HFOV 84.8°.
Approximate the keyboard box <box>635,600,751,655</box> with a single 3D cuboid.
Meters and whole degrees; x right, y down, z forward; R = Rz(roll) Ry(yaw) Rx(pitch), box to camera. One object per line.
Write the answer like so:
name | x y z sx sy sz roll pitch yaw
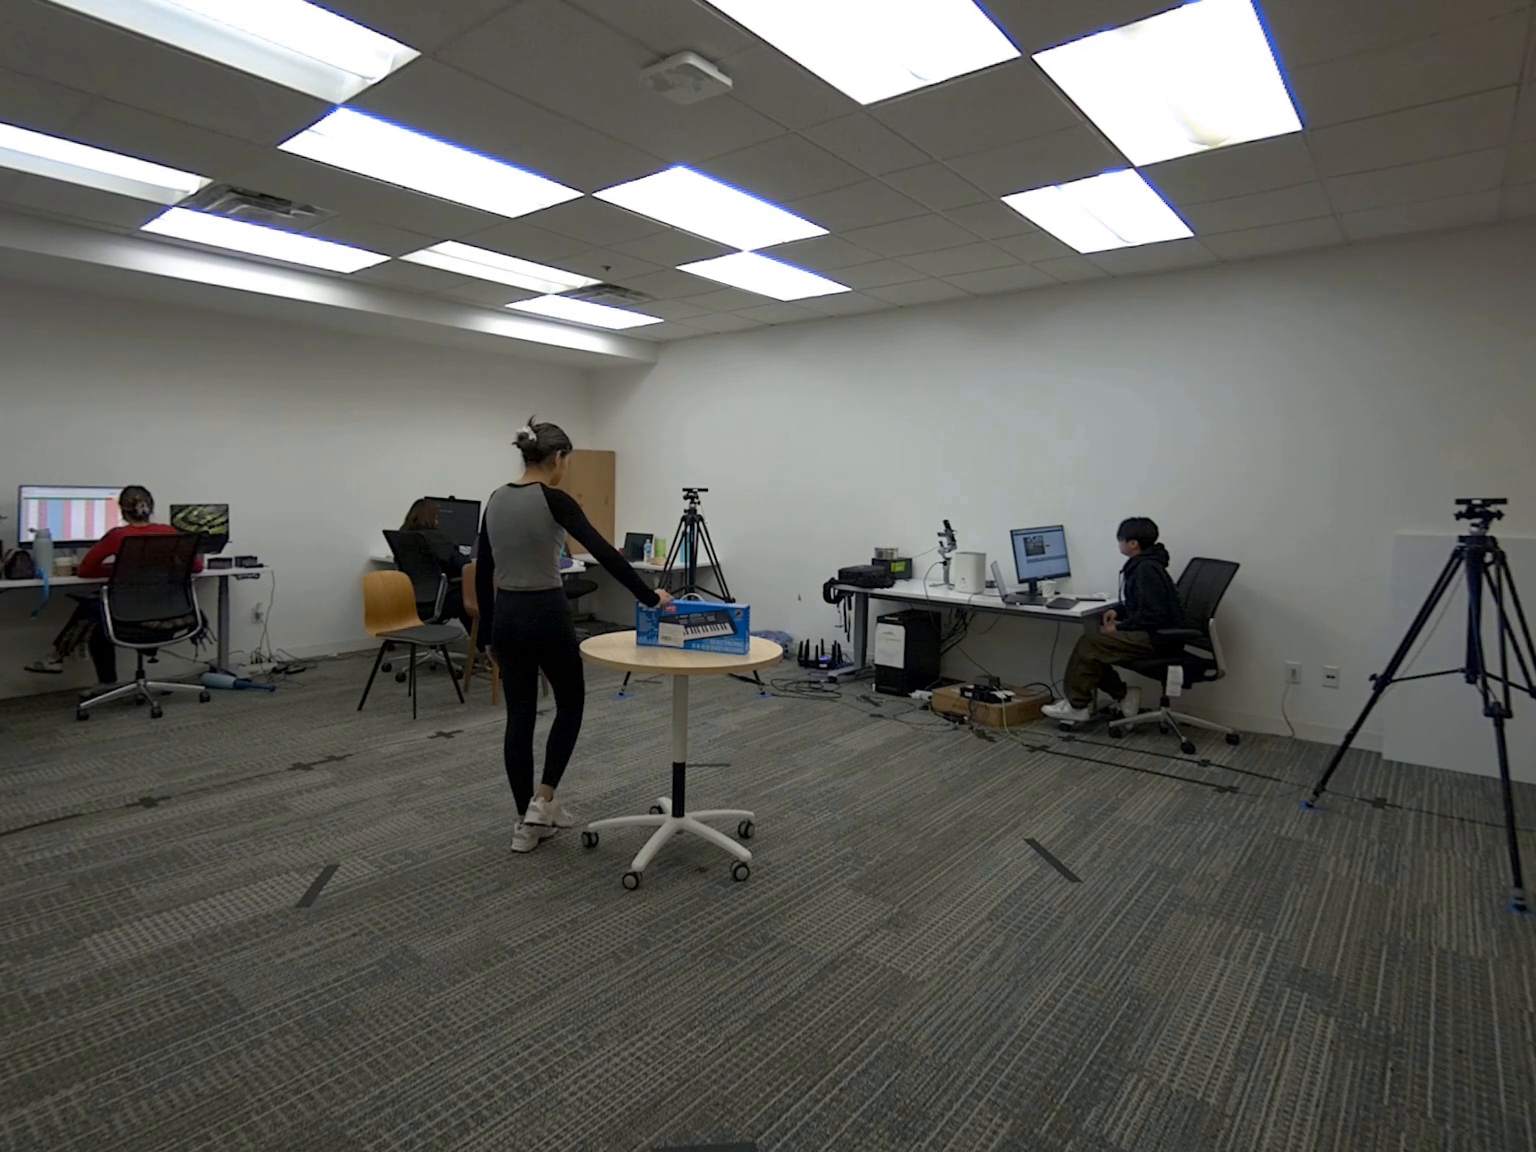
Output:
keyboard box | -0.295 0.183 3.172 0.446 0.175 0.058 3 6 20
